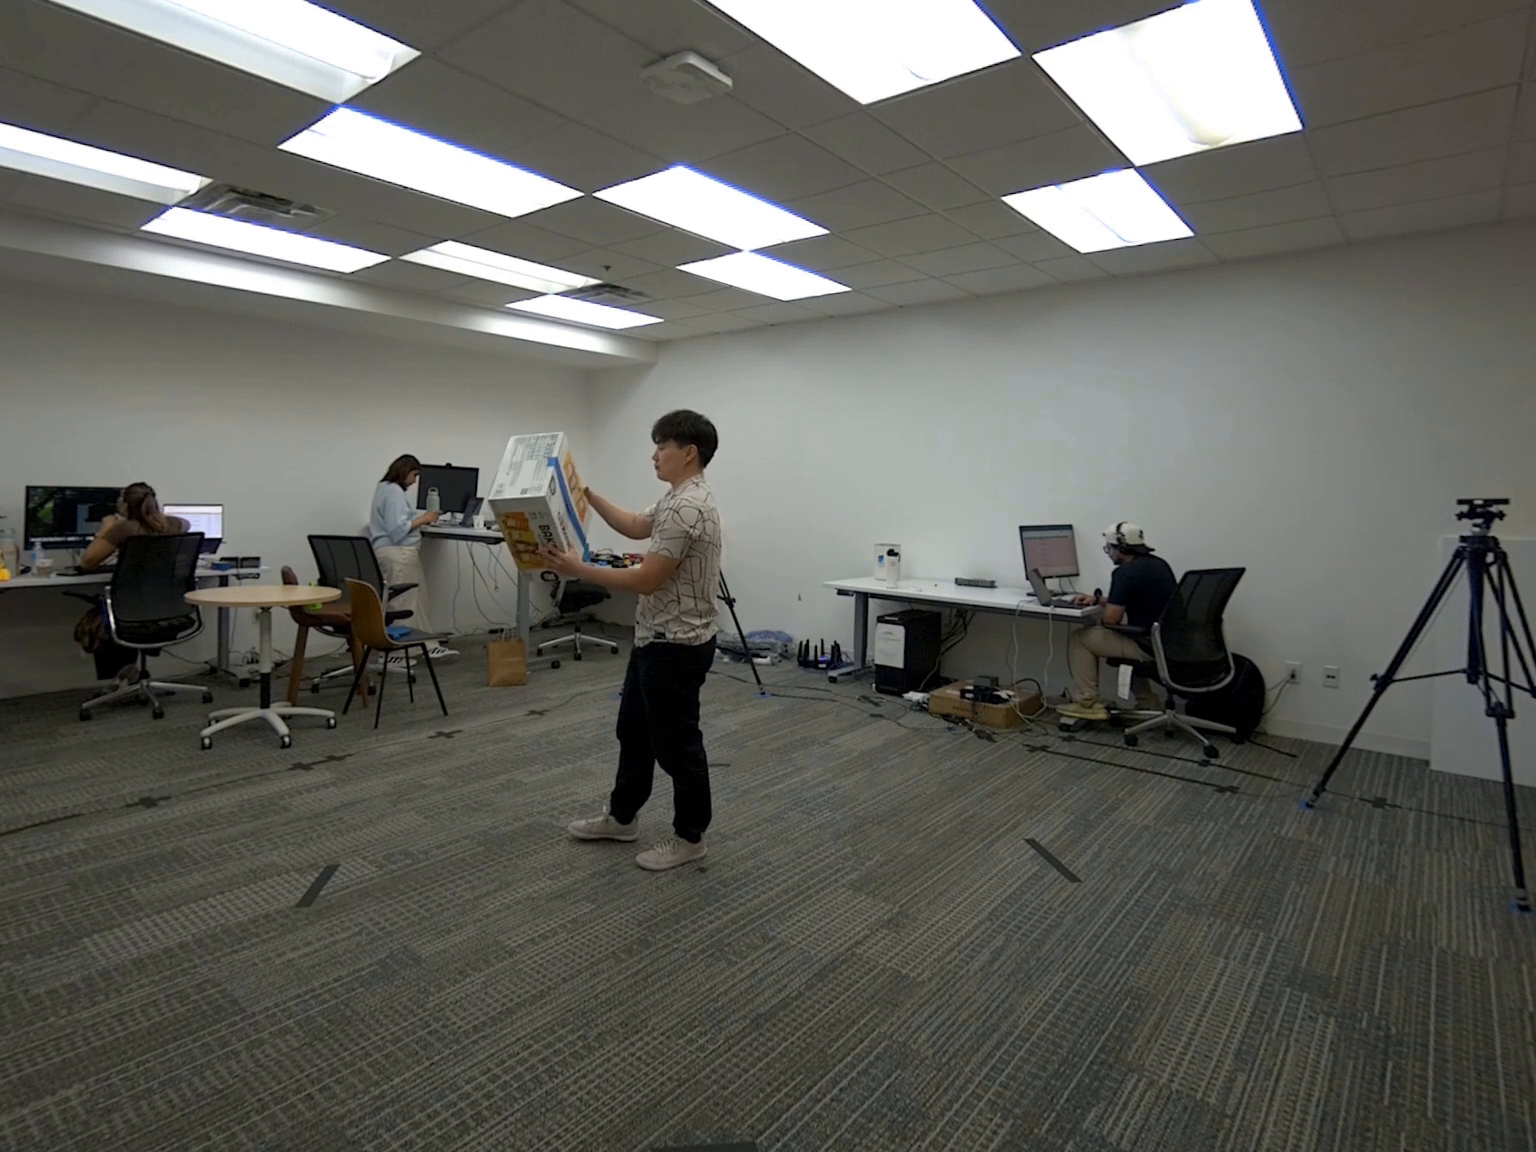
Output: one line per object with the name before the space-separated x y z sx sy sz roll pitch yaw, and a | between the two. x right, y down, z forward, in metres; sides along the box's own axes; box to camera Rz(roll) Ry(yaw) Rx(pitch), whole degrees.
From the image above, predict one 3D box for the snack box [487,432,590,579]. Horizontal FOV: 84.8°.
snack box | -0.814 -0.241 3.020 0.207 0.391 0.349 -4 45 7
